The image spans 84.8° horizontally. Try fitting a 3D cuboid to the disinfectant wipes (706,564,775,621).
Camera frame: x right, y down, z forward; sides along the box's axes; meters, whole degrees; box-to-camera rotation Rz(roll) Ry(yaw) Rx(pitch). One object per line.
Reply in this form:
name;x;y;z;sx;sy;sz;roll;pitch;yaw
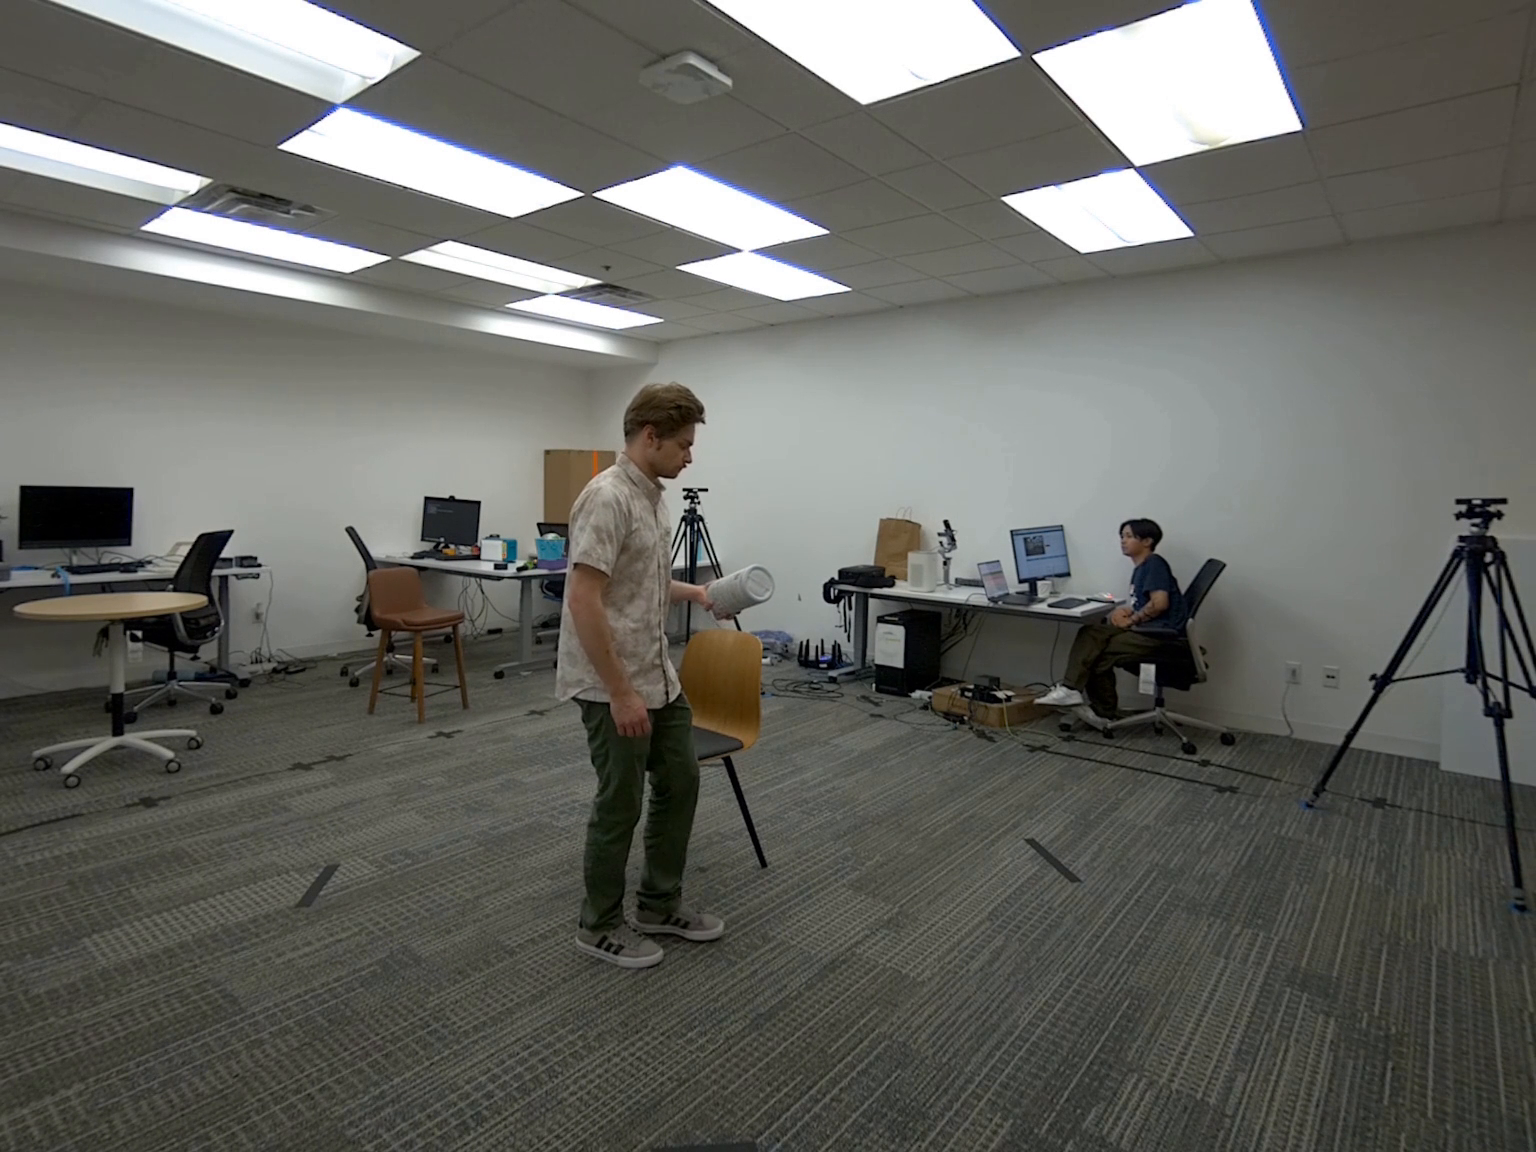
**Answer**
disinfectant wipes;-0.087;0.043;2.457;0.114;0.119;0.221;-2;-13;-36
